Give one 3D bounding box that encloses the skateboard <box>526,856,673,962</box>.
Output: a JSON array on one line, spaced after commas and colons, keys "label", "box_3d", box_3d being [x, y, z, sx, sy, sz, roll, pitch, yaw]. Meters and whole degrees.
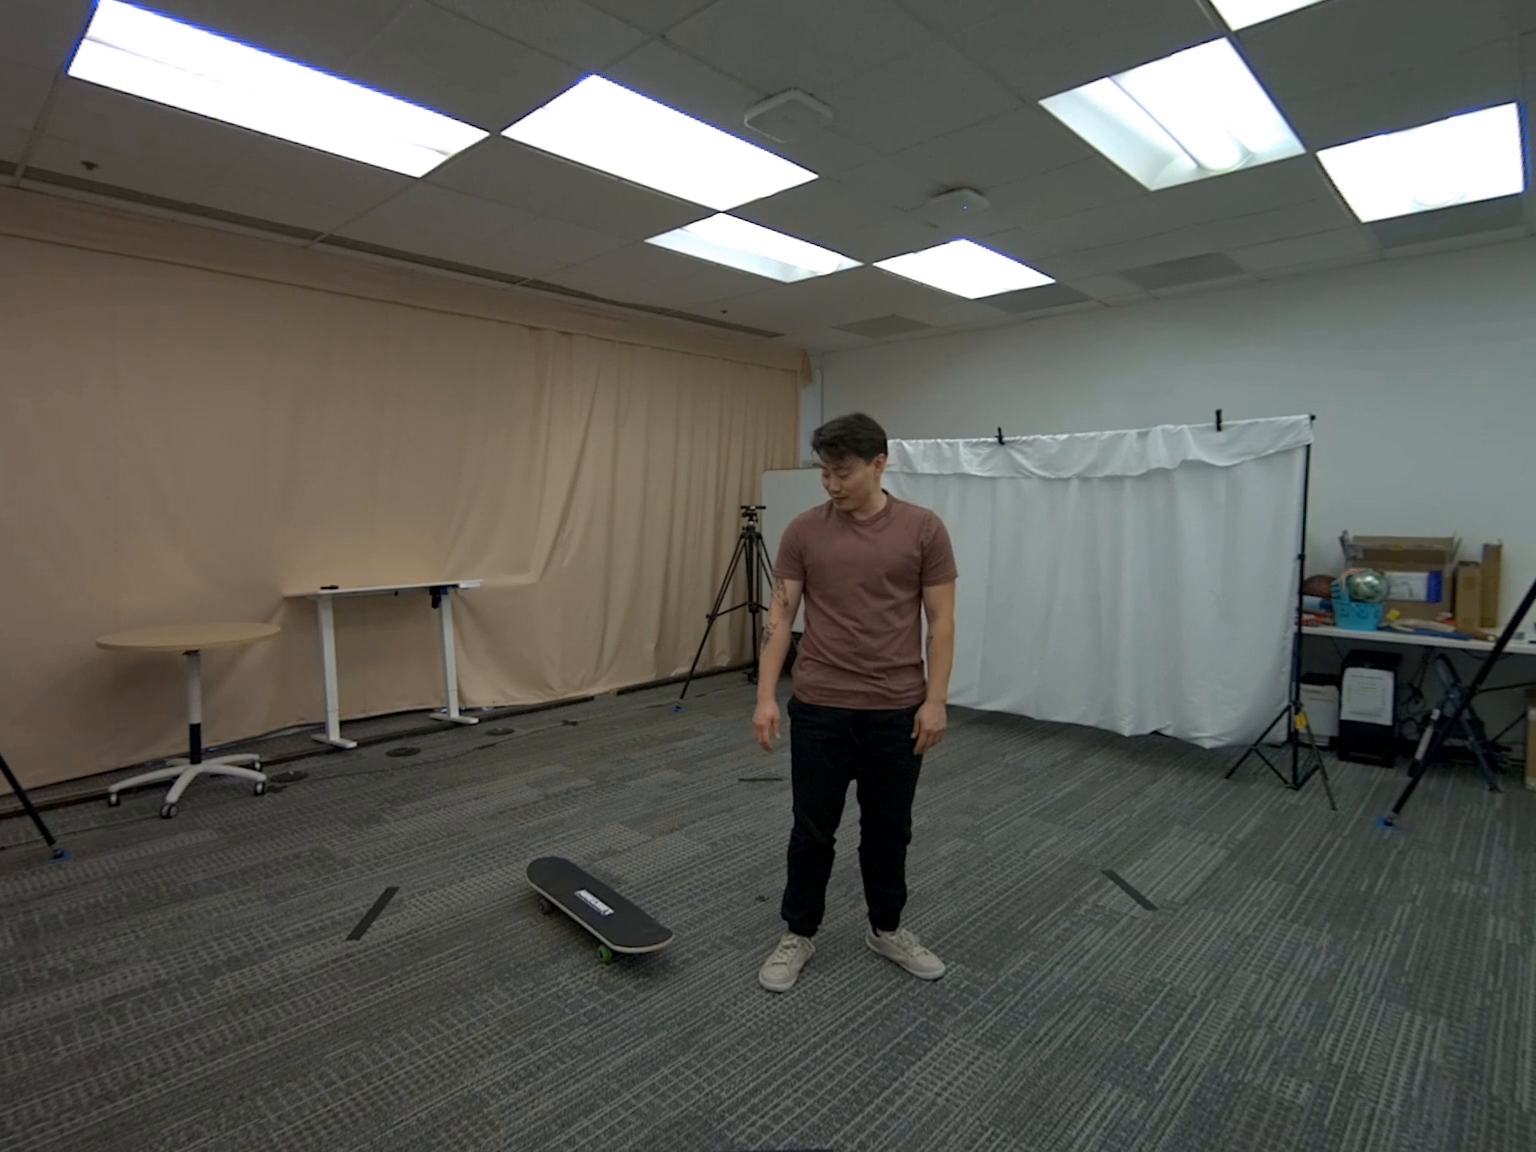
[{"label": "skateboard", "box_3d": [-0.571, 1.109, 2.776, 0.187, 0.110, 0.811, -3, 5, -40]}]
